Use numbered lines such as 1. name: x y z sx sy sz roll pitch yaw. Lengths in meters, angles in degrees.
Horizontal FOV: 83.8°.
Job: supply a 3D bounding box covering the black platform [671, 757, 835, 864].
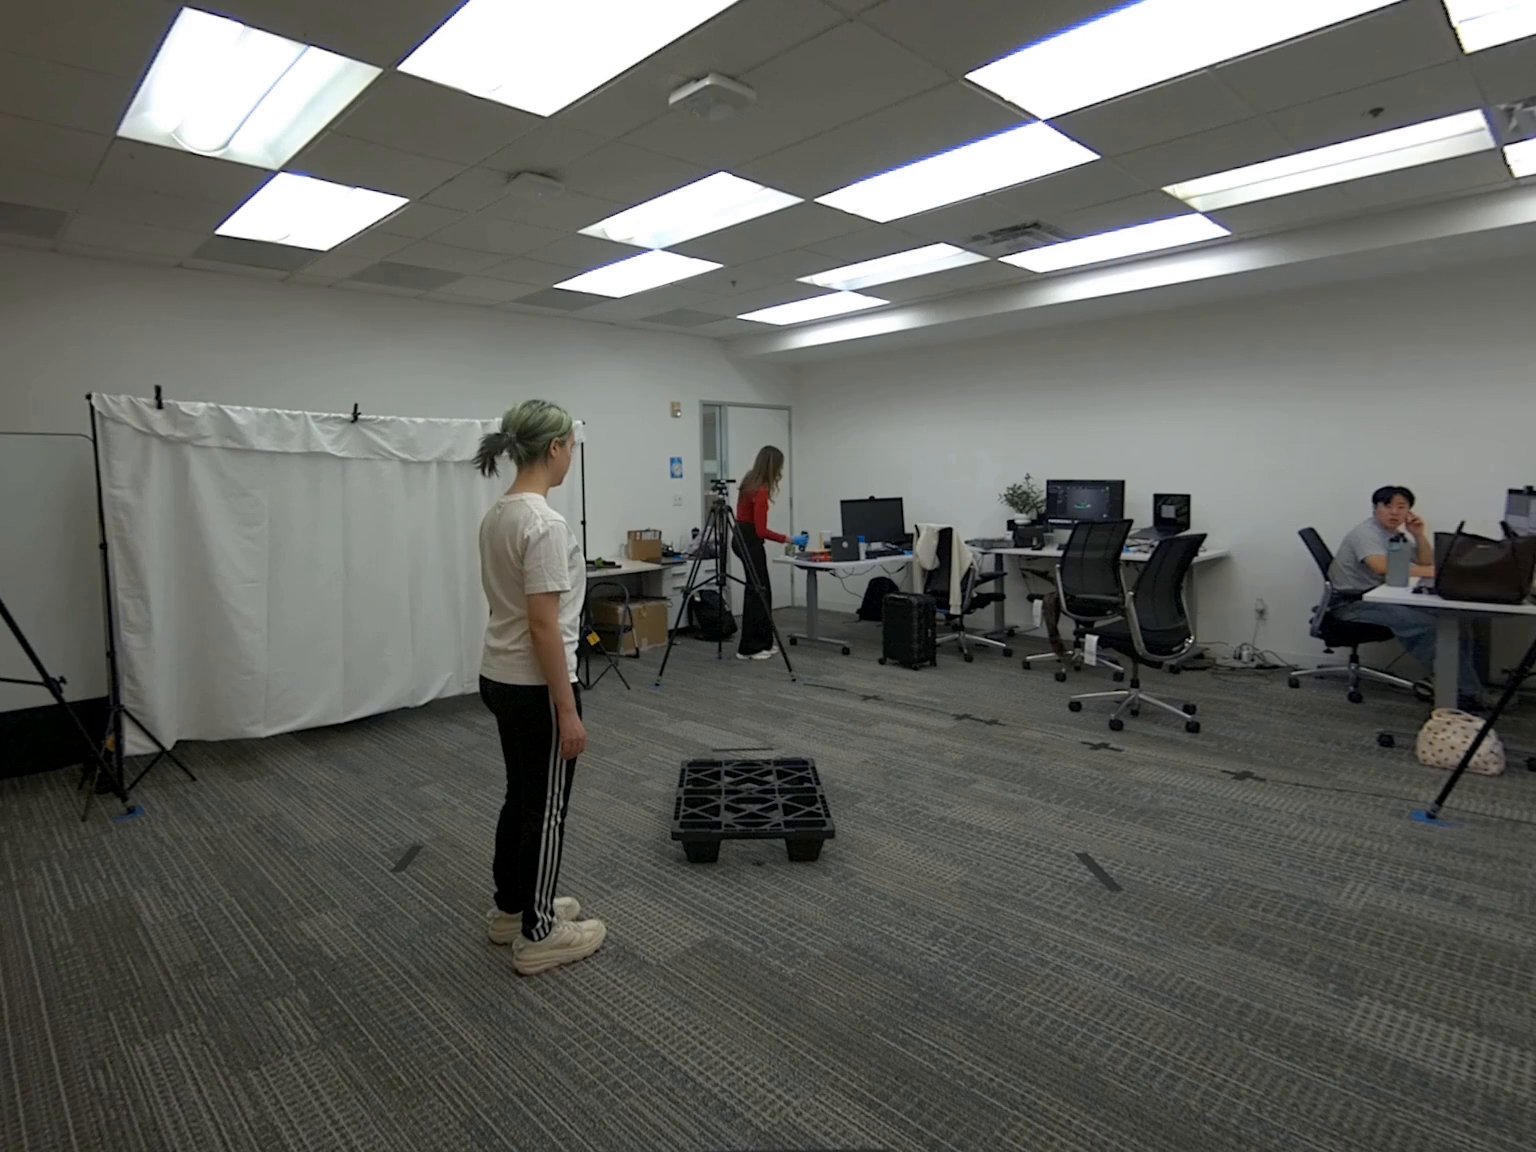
1. black platform: -0.075 0.936 3.476 0.605 0.143 0.809 -2 6 -1
